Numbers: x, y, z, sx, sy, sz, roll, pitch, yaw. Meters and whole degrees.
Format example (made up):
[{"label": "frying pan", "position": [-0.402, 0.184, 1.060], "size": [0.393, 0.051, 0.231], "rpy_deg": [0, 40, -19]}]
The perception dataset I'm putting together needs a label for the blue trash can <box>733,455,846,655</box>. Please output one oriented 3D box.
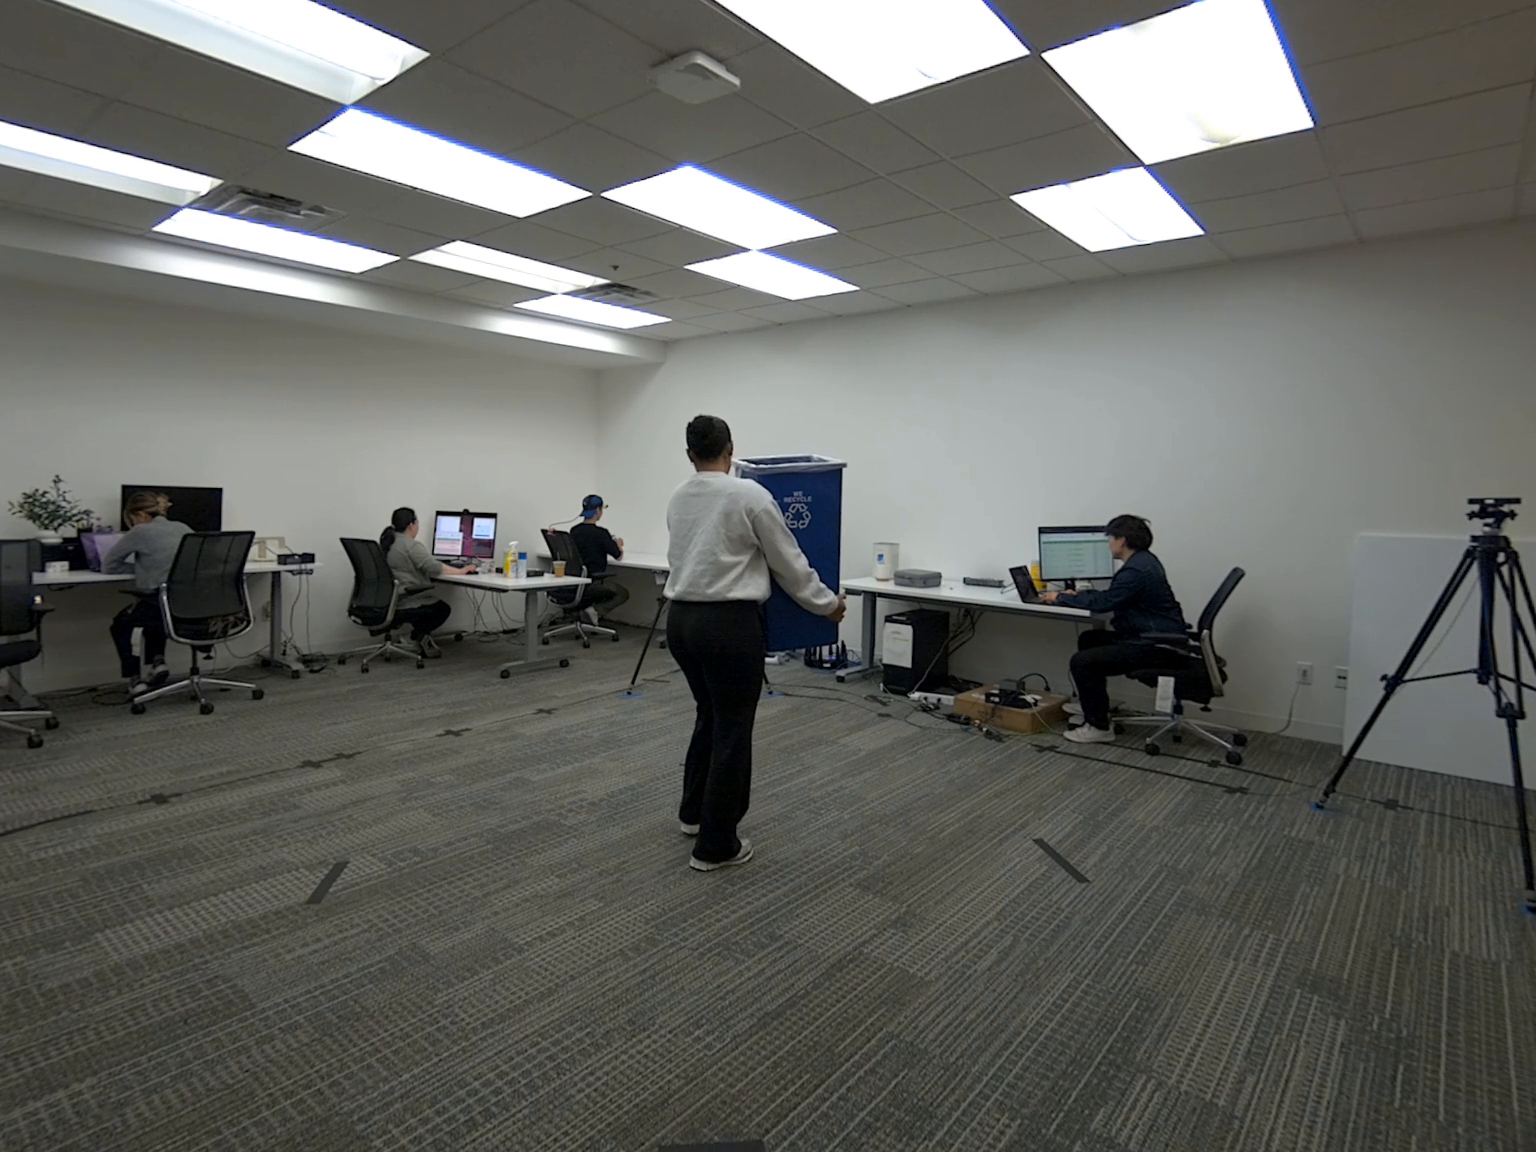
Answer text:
[{"label": "blue trash can", "position": [0.077, -0.105, 3.328], "size": [0.371, 0.707, 0.384], "rpy_deg": [-6, 10, -20]}]
